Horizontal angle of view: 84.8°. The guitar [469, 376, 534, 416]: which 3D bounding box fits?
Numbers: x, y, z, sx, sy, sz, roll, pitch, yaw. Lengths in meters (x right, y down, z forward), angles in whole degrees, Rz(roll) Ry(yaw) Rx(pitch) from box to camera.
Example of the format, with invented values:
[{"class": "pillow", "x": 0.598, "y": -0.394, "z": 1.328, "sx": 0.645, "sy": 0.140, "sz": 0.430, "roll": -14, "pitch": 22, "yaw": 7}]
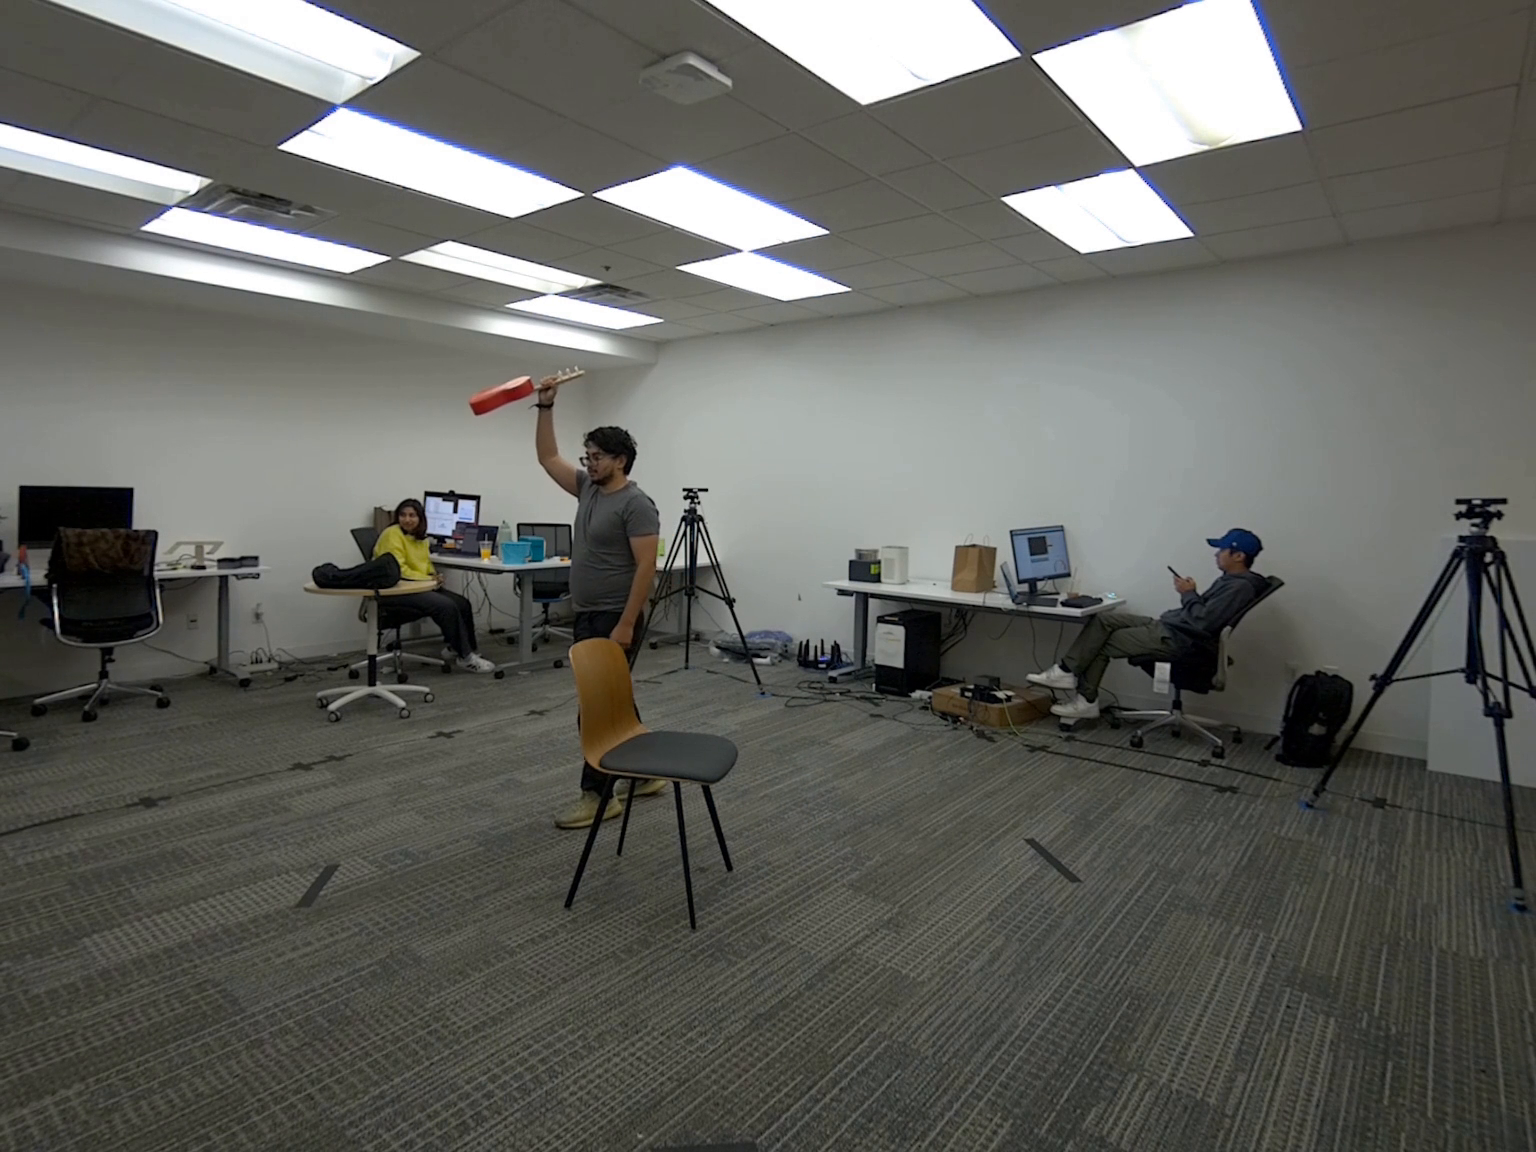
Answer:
[{"class": "guitar", "x": -1.054, "y": -0.817, "z": 3.642, "sx": 0.495, "sy": 0.069, "sz": 0.199, "roll": -24, "pitch": 26, "yaw": -8}]
